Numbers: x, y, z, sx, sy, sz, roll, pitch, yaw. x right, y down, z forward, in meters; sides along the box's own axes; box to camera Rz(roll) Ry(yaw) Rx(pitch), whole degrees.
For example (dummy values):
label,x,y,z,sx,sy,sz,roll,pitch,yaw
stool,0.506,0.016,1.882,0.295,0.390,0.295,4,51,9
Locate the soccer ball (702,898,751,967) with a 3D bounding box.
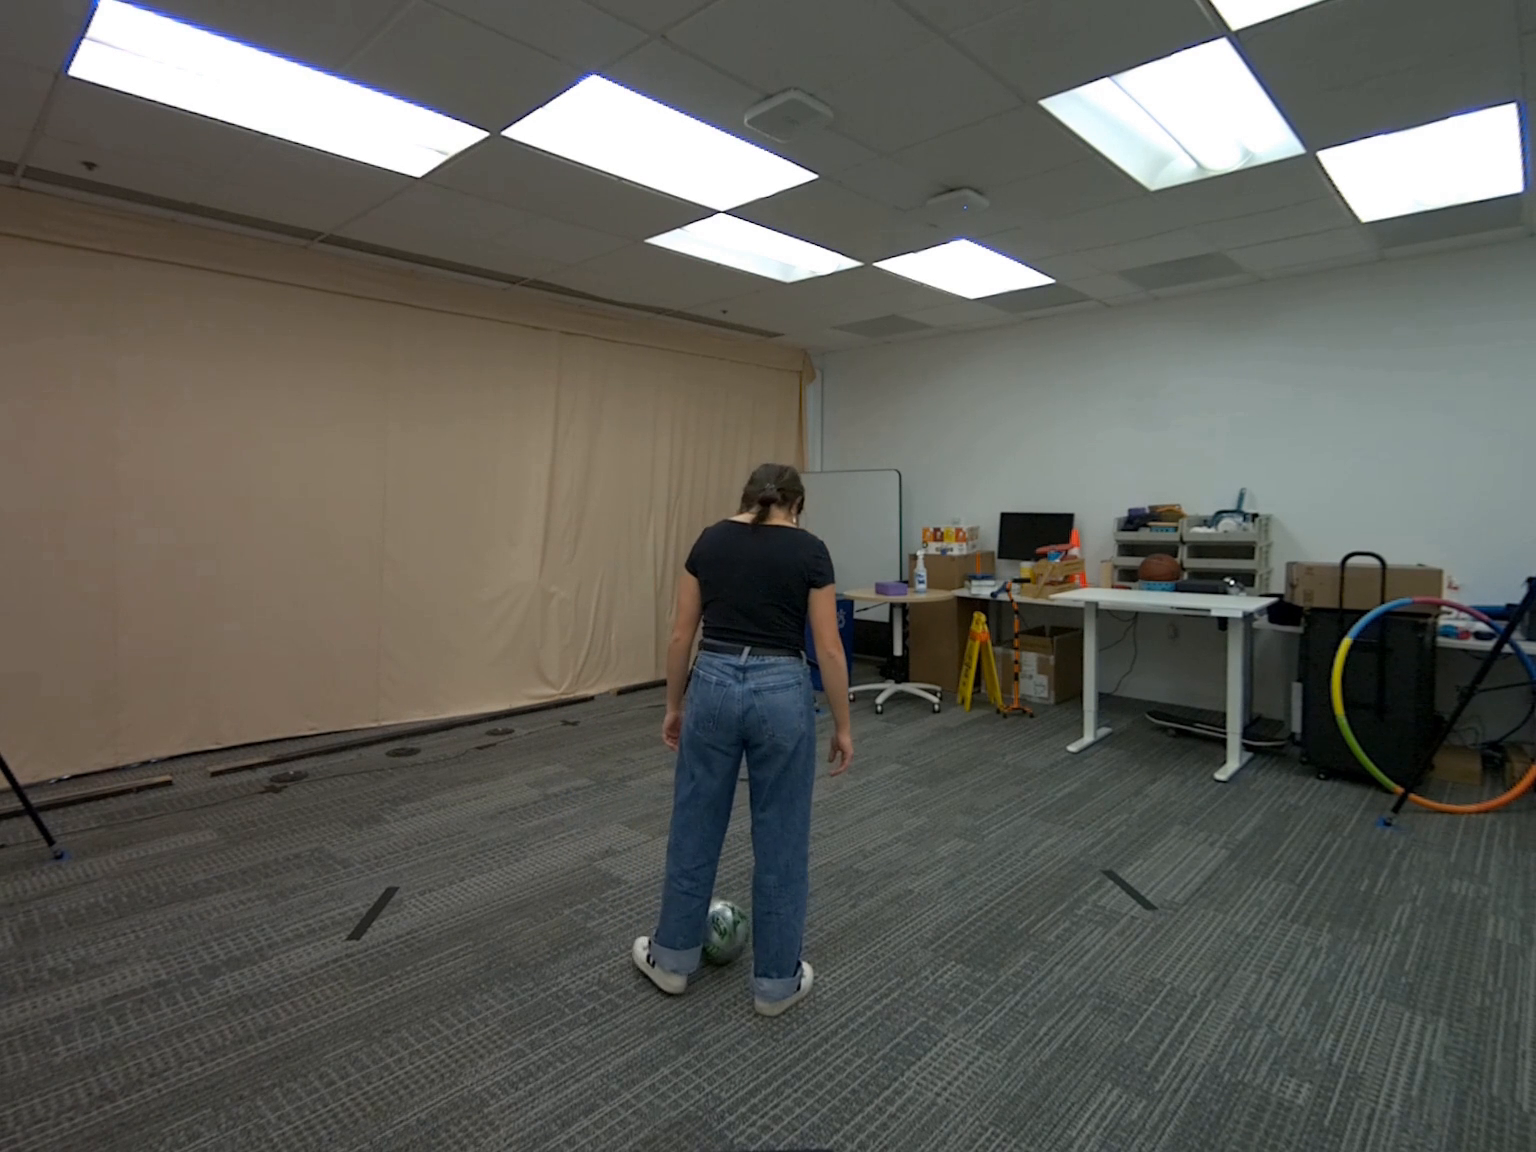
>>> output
label,x,y,z,sx,sy,sz,roll,pitch,yaw
soccer ball,-0.135,1.093,2.577,0.187,0.187,0.188,0,4,-2
